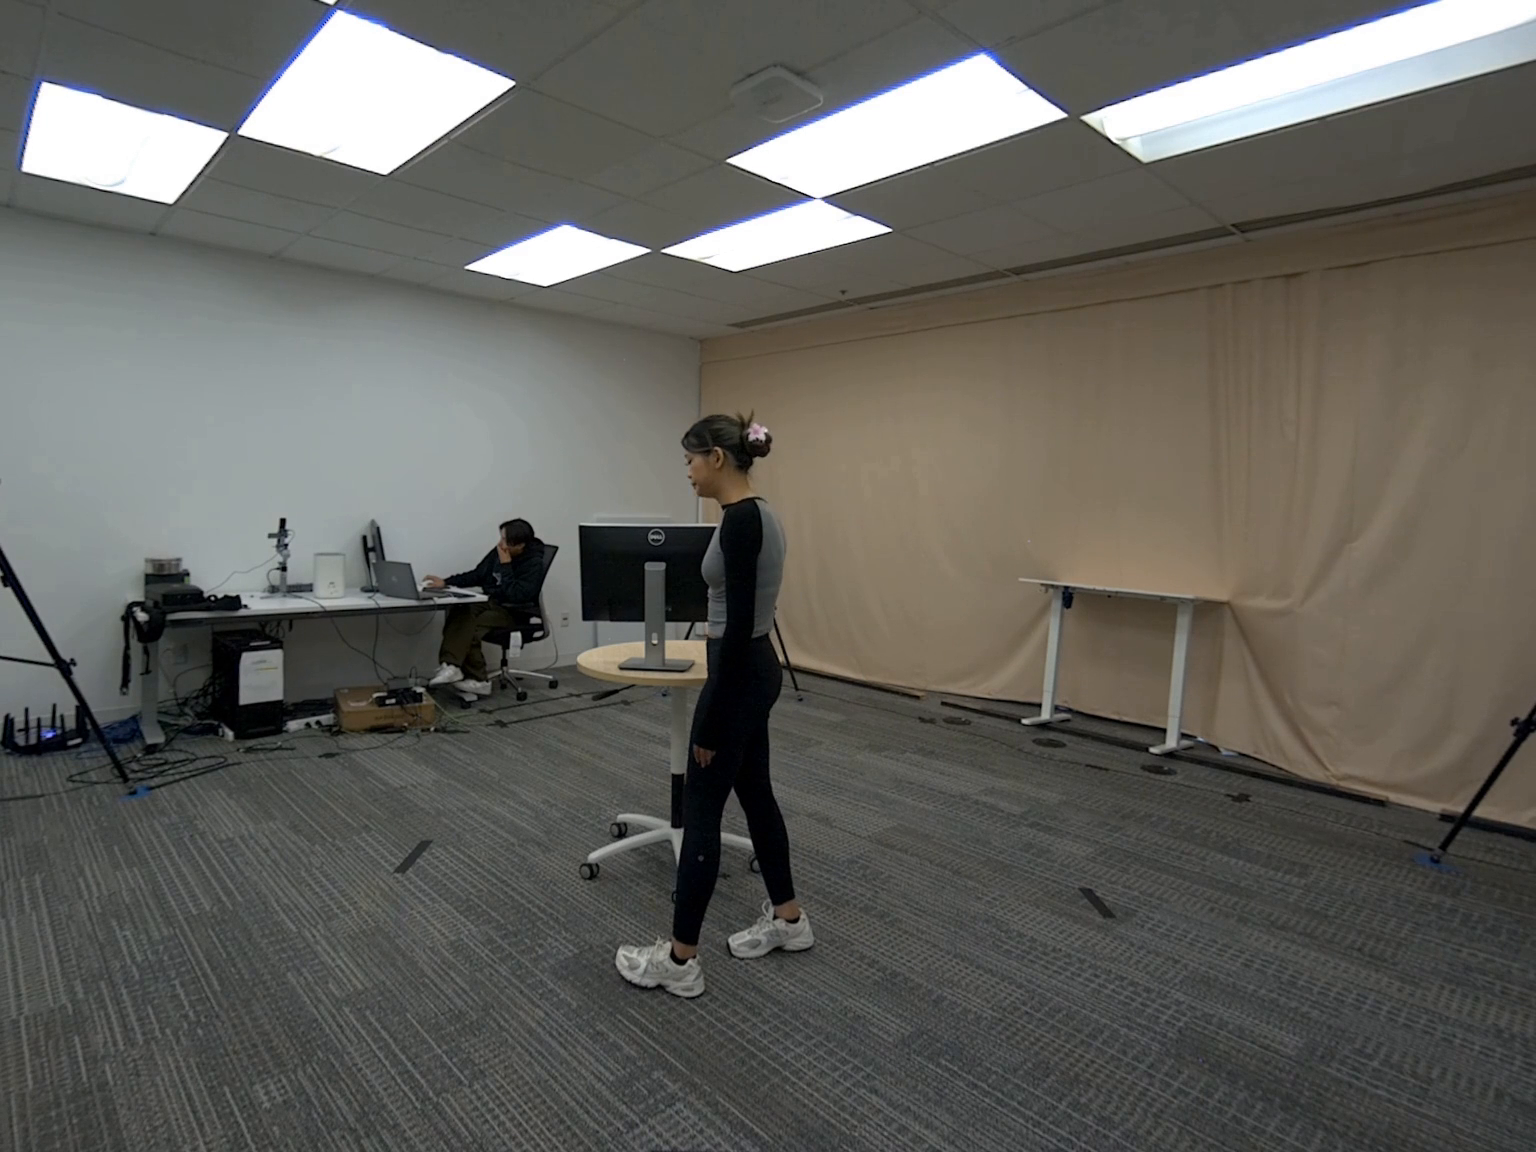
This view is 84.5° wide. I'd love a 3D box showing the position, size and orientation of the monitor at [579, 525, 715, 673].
[{"bbox_3d":[-0.395,0.074,2.982,0.538,0.522,0.187,0,1,-2],"label":"monitor"}]
